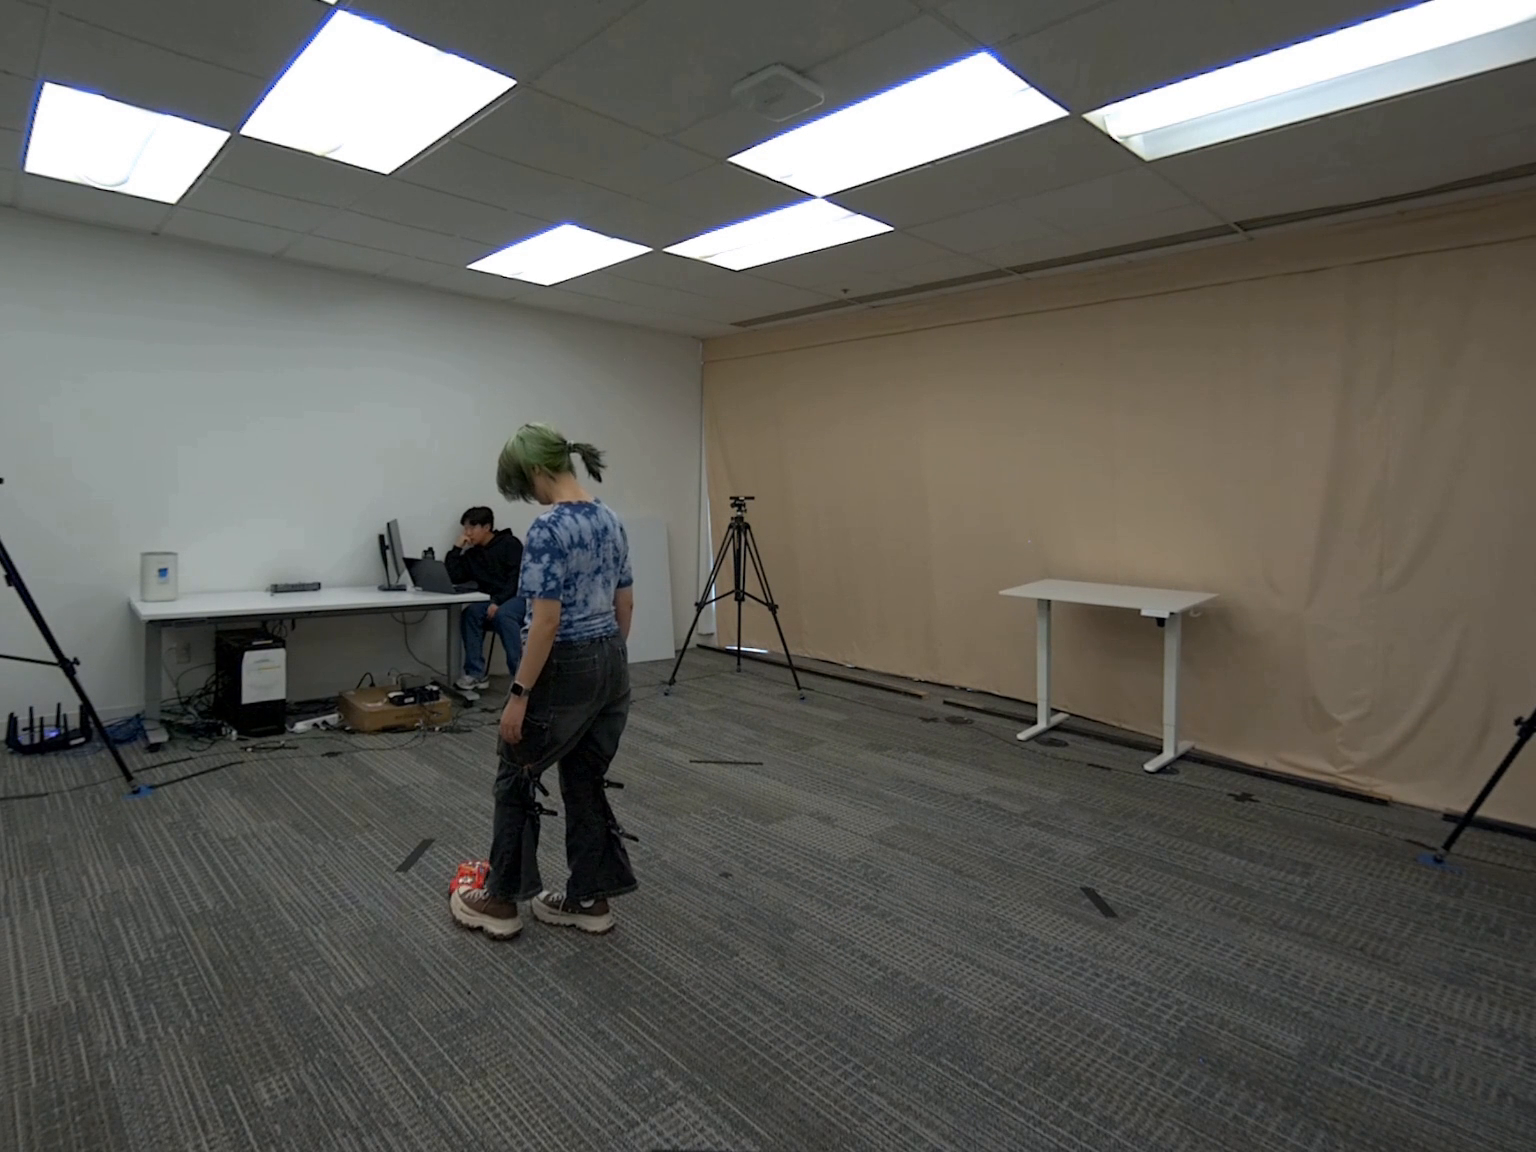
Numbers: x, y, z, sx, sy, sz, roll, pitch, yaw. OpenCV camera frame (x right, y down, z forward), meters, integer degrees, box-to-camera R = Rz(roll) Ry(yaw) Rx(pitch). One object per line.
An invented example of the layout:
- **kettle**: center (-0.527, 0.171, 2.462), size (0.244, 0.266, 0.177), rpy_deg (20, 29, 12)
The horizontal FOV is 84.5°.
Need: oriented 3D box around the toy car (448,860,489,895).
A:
- **toy car**: center (-1.054, 1.069, 2.948), size (0.129, 0.083, 0.255), rpy_deg (1, -5, -9)
